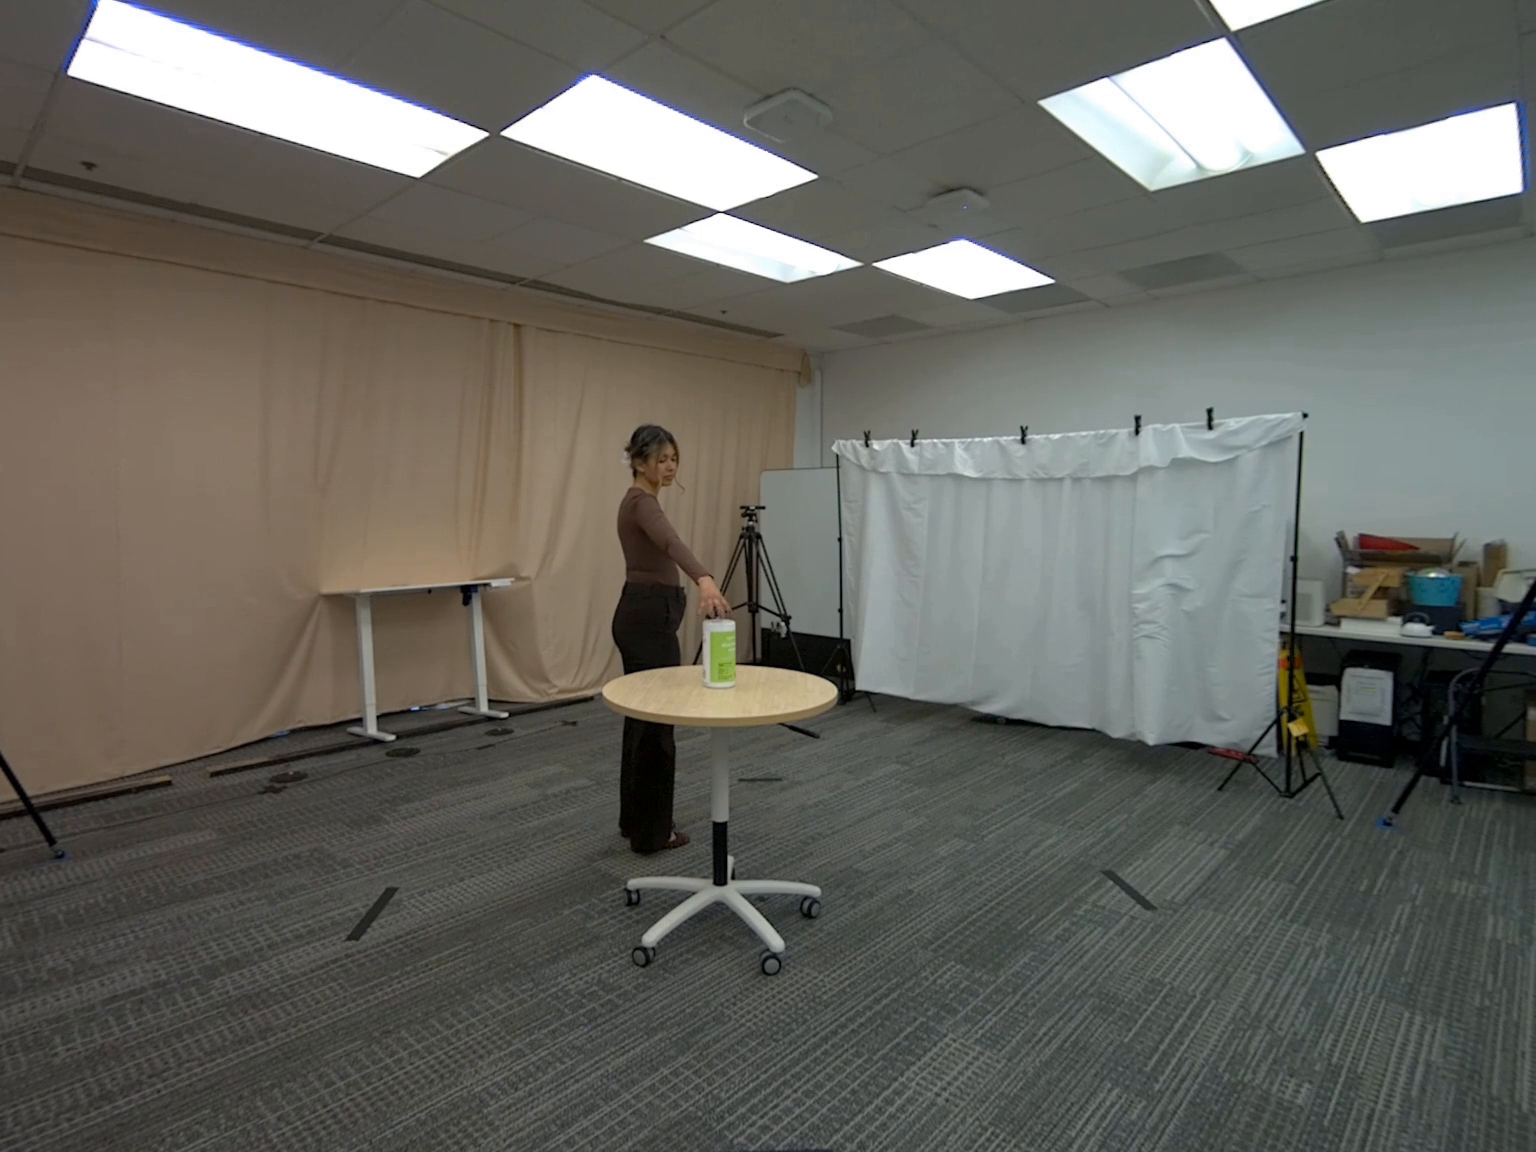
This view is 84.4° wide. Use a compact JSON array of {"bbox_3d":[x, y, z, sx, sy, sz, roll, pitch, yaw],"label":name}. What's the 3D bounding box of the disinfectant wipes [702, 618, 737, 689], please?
[{"bbox_3d":[-0.162,0.258,2.787,0.118,0.217,0.118,1,3,-2],"label":"disinfectant wipes"}]
